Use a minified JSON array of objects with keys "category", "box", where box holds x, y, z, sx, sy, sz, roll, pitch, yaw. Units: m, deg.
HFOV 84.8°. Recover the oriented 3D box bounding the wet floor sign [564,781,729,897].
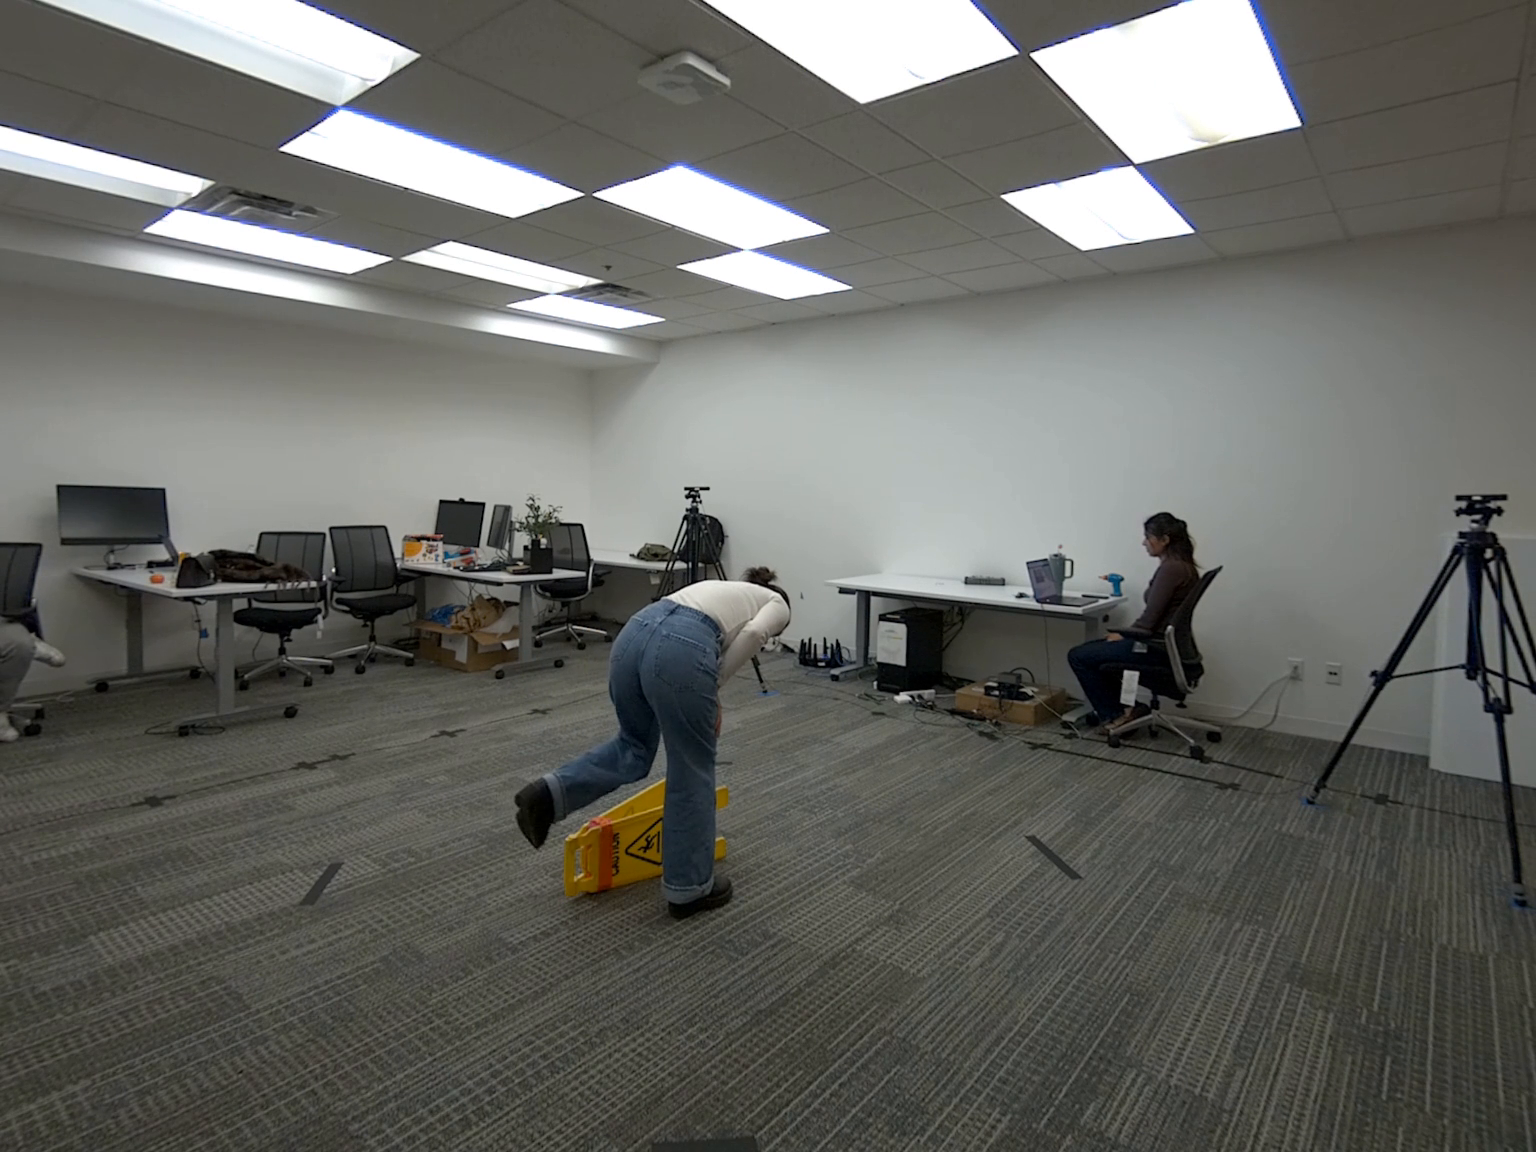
[{"category":"wet floor sign","box":[-0.468,0.939,3.050,0.300,0.281,0.628,6,9,41]}]
